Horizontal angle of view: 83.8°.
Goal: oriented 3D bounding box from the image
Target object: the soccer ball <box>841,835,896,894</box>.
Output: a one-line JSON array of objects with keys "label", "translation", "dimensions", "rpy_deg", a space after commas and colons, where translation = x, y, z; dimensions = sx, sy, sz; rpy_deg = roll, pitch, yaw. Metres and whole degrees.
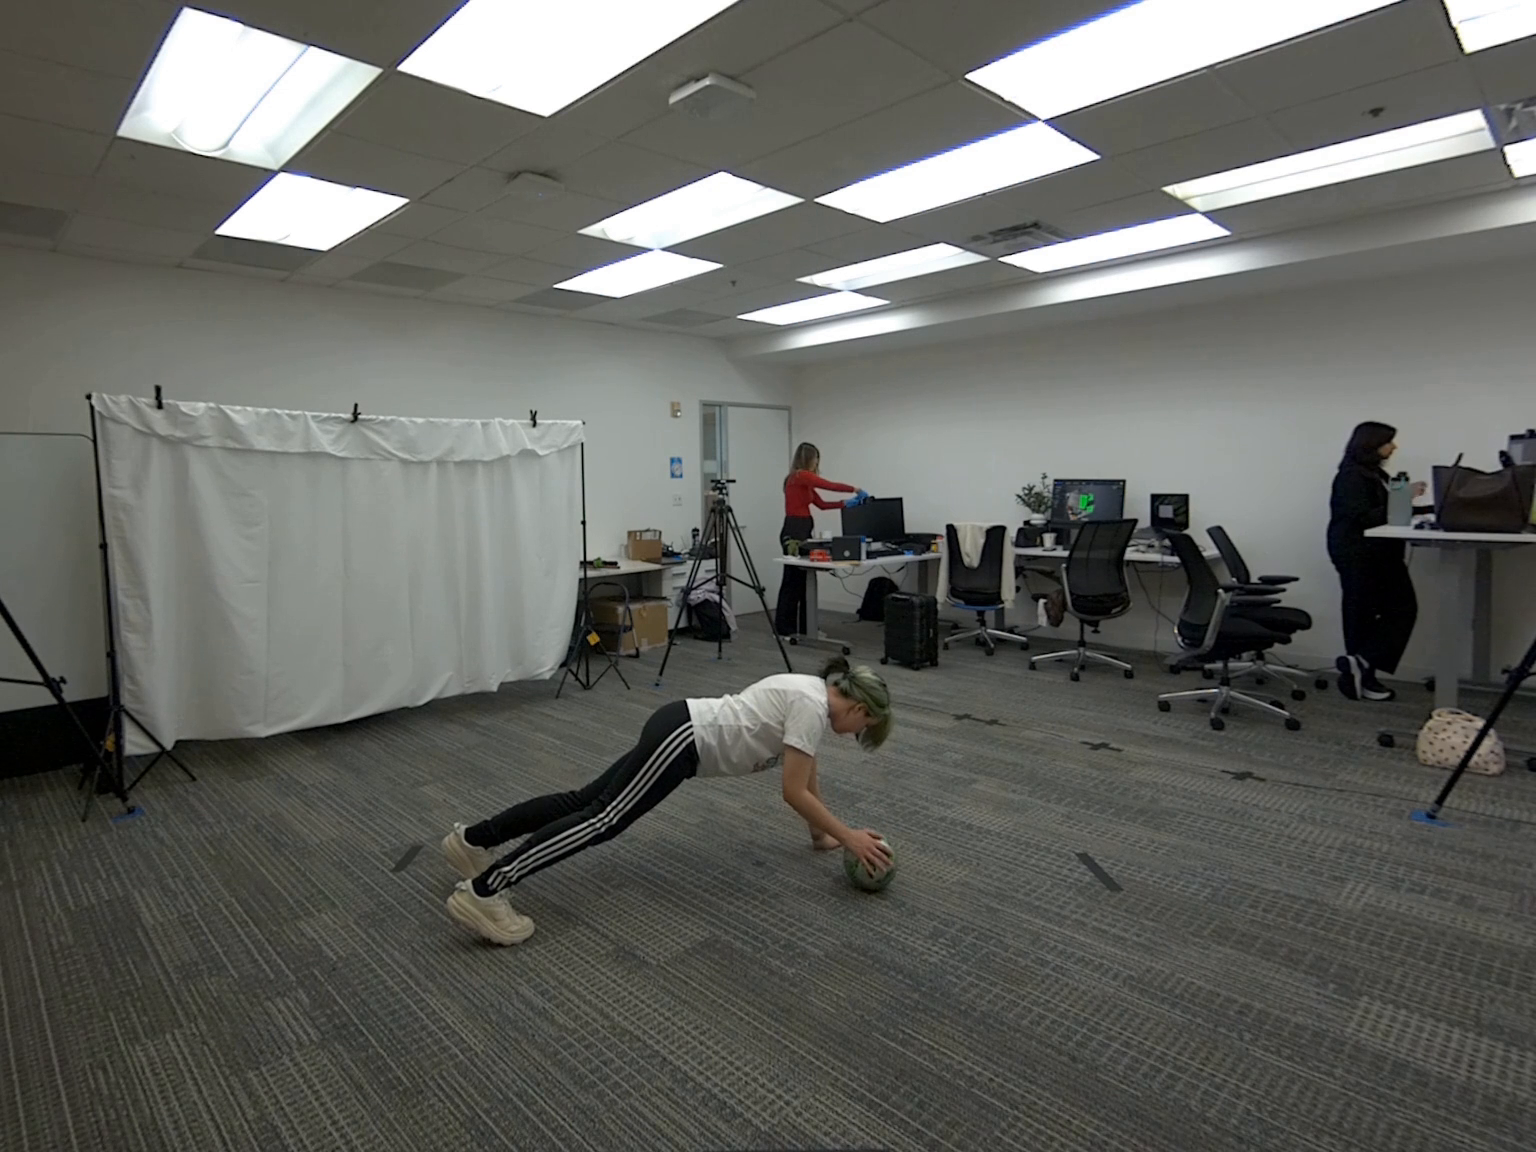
[{"label": "soccer ball", "translation": [0.343, 0.967, 2.921], "dimensions": [0.187, 0.187, 0.188], "rpy_deg": [-1, 5, -2]}]
